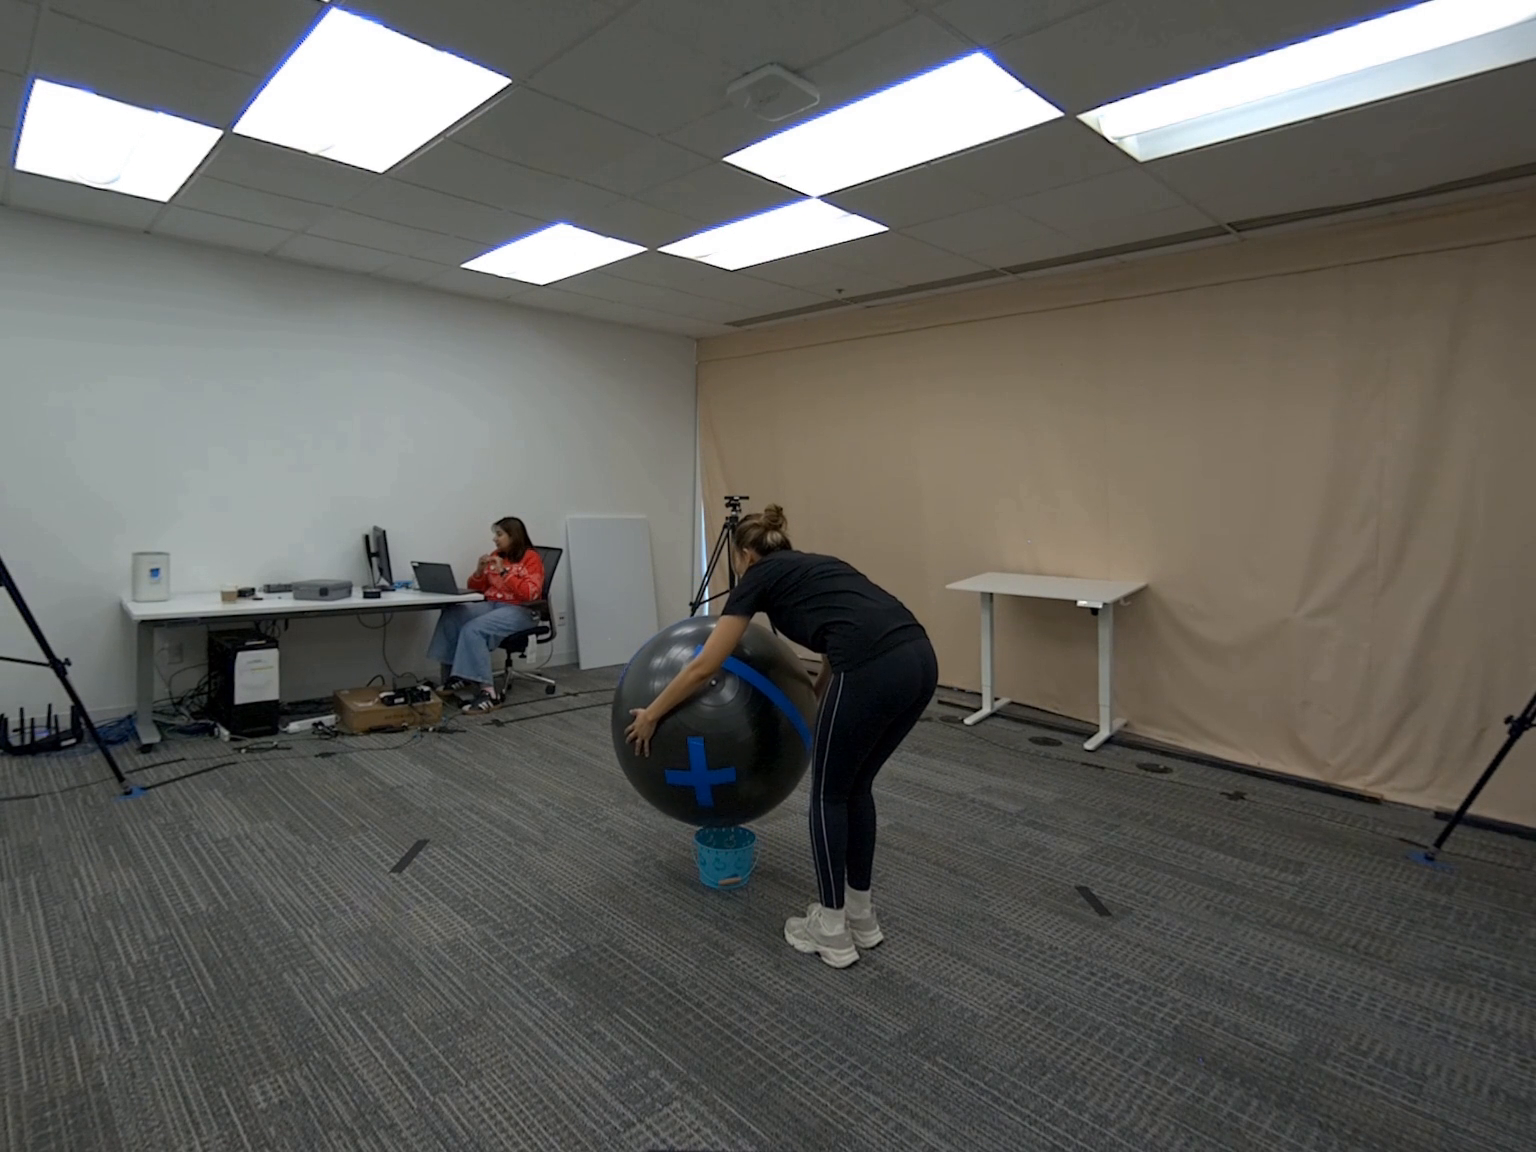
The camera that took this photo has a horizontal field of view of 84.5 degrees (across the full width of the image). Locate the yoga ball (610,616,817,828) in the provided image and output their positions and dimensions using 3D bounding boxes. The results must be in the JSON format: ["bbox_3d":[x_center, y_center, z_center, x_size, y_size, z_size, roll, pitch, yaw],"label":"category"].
[{"bbox_3d":[-0.200,0.529,3.087,0.757,0.756,0.761,1,4,-1],"label":"yoga ball"}]
